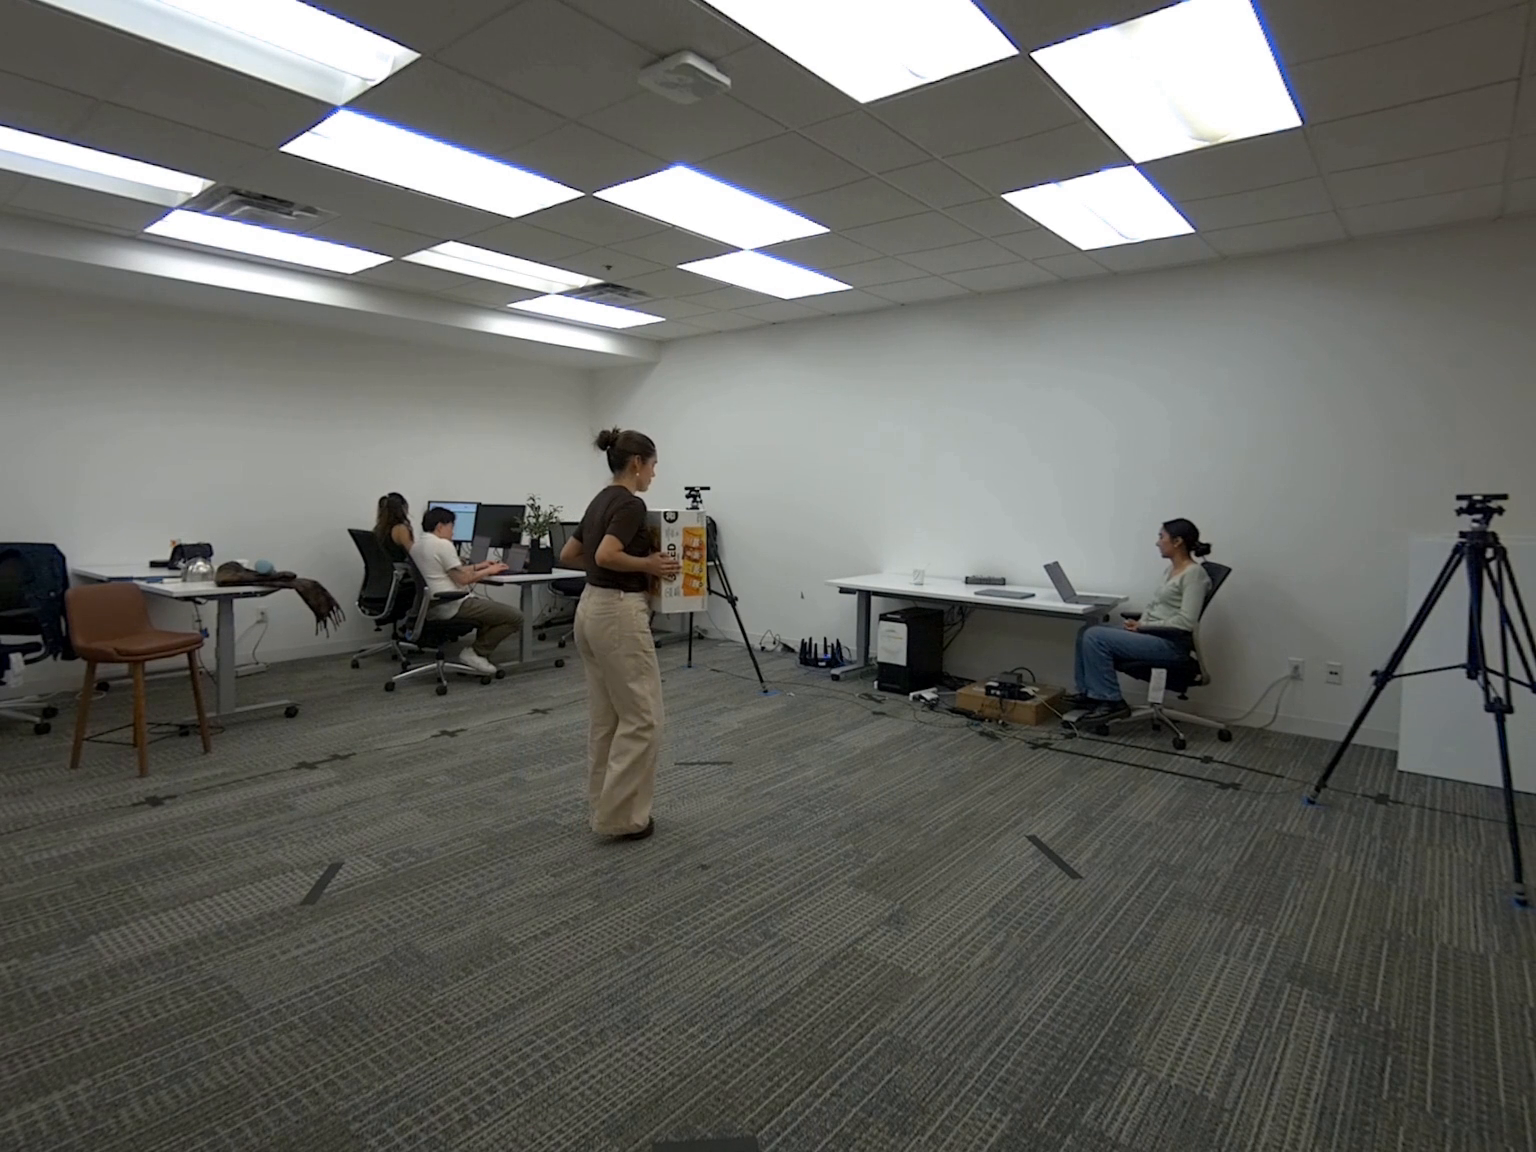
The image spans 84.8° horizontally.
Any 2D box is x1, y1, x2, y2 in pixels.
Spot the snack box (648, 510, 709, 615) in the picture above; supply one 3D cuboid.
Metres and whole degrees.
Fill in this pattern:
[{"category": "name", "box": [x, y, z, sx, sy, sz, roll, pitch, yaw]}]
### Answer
[{"category": "snack box", "box": [-0.430, -0.074, 3.538, 0.200, 0.404, 0.350, -1, 3, -30]}]
